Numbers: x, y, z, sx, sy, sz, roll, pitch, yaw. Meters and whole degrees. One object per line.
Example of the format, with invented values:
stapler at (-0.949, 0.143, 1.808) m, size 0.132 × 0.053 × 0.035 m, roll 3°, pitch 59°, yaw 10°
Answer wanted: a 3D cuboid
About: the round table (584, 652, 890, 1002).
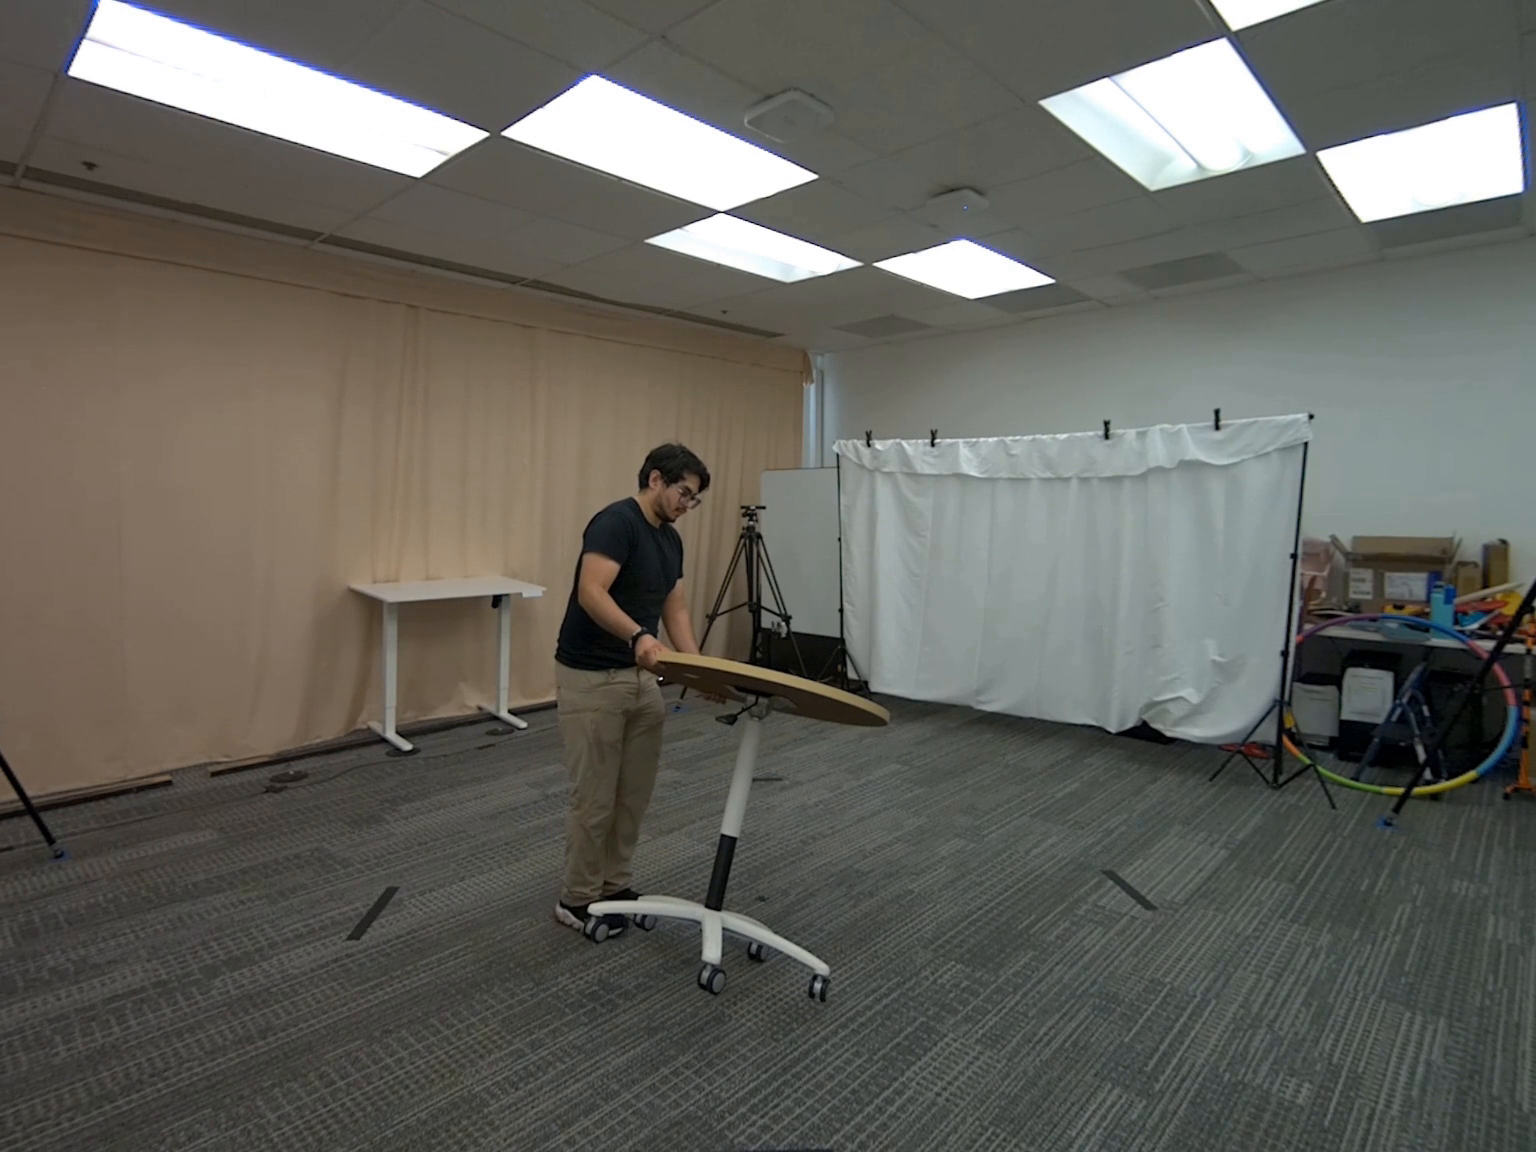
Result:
round table at (-0.101, 0.705, 2.427) m, size 0.788 × 0.790 × 0.778 m, roll 13°, pitch -15°, yaw 2°
